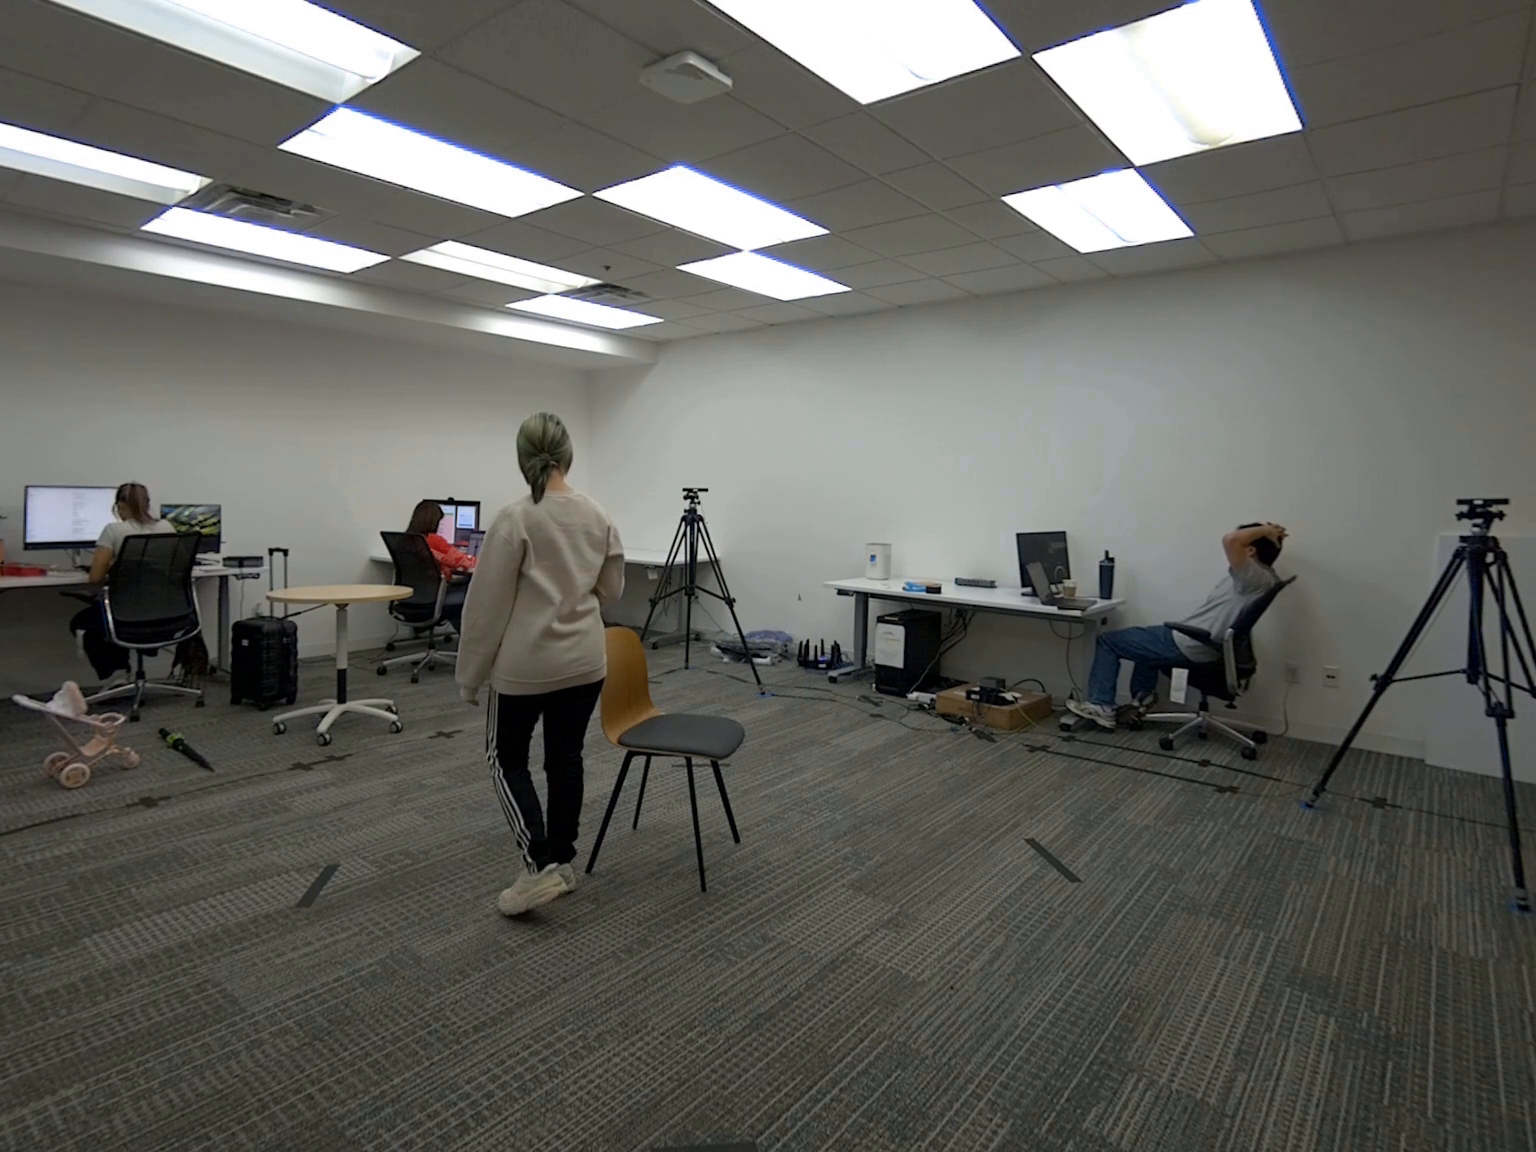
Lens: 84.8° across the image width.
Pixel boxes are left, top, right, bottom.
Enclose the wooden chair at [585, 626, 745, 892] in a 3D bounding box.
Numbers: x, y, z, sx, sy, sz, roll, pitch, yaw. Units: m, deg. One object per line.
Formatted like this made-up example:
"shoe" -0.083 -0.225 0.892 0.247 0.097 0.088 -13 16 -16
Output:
"wooden chair" -0.372 0.633 3.178 0.532 0.876 0.471 -2 2 16
